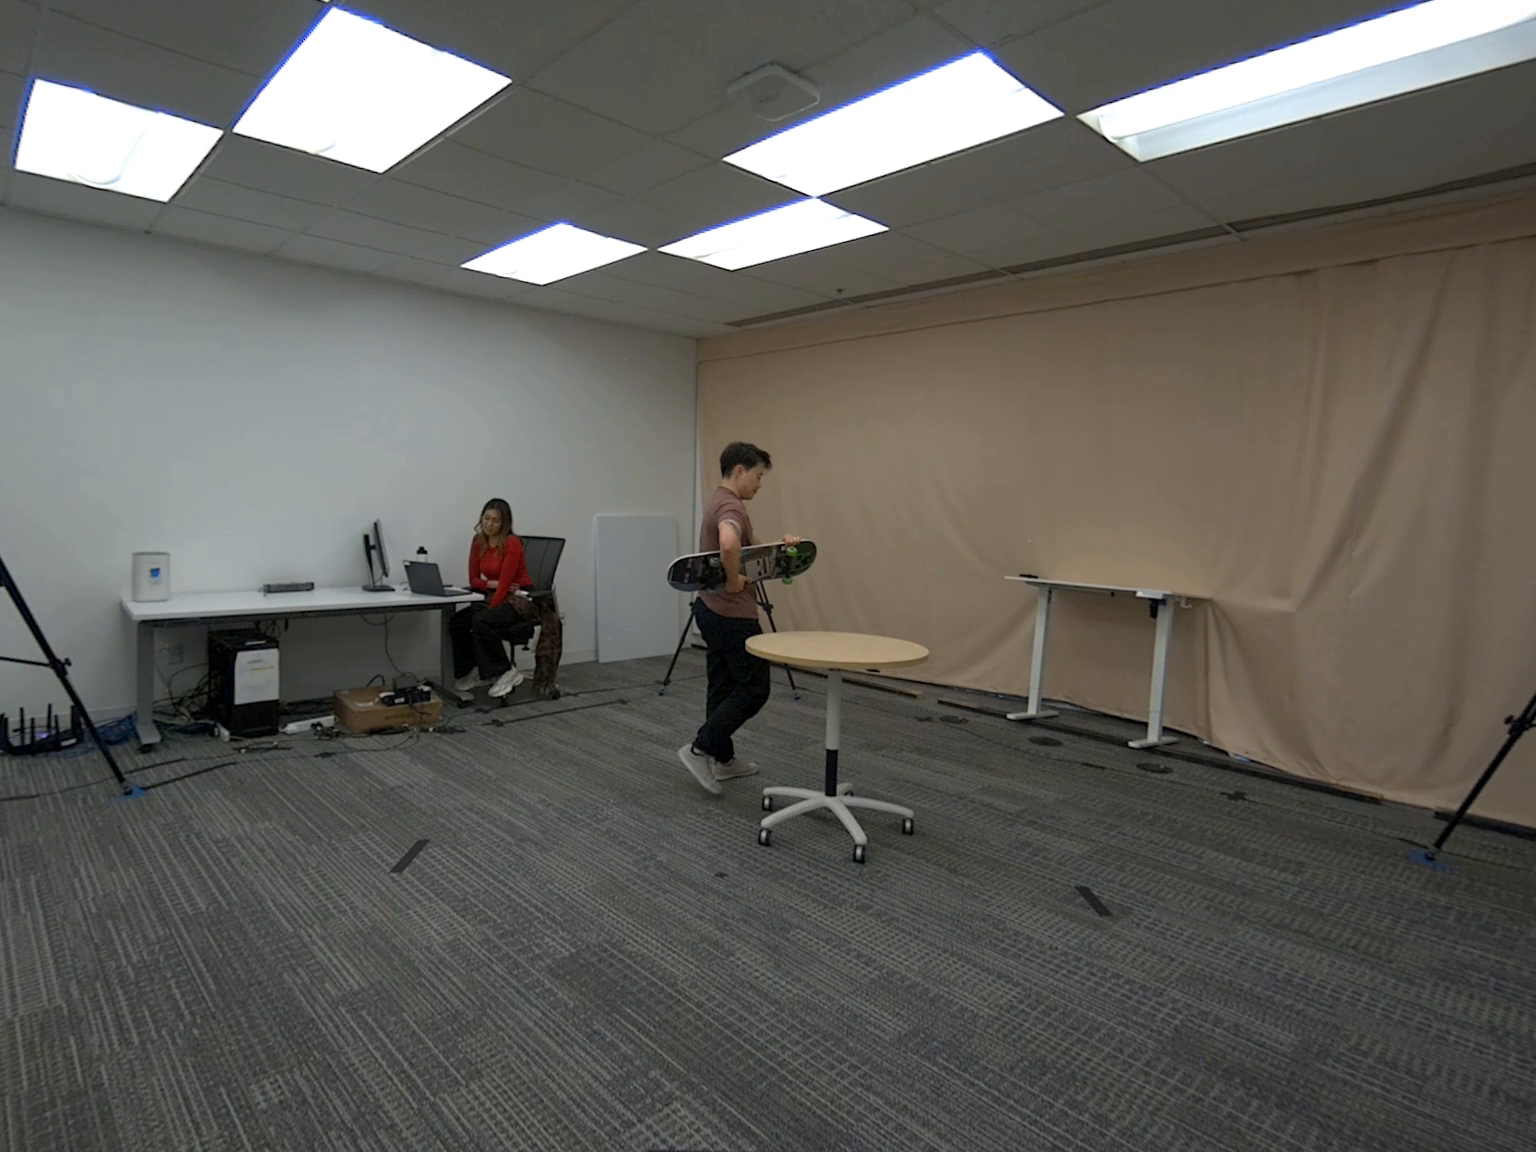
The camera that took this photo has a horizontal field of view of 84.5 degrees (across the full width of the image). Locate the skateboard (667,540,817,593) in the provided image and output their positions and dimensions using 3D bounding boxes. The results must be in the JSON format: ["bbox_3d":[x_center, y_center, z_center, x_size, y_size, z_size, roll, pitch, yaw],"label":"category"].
[{"bbox_3d":[-0.099,-0.034,3.908,0.773,0.190,0.114,-8,28,-24],"label":"skateboard"}]
